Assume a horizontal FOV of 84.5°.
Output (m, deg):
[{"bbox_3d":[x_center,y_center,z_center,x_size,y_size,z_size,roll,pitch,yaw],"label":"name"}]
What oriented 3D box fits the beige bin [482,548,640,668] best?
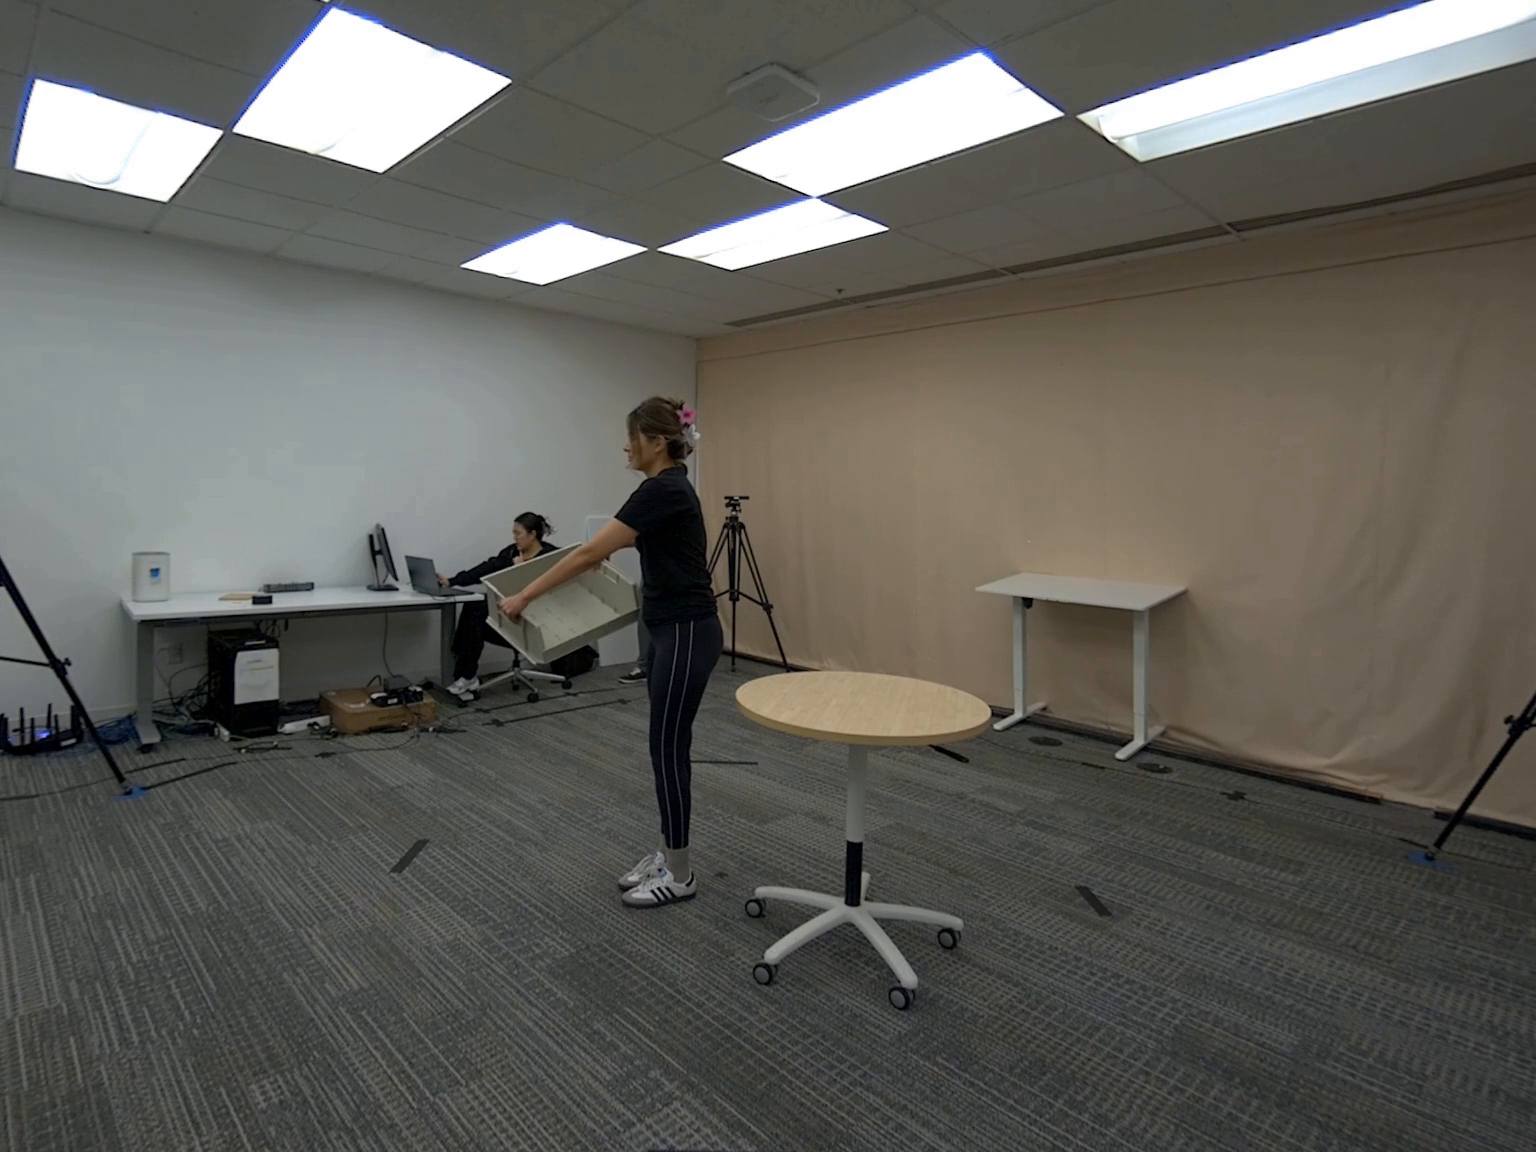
[{"bbox_3d":[-0.725,0.102,2.969,0.389,0.186,0.417,30,39,35],"label":"beige bin"}]
